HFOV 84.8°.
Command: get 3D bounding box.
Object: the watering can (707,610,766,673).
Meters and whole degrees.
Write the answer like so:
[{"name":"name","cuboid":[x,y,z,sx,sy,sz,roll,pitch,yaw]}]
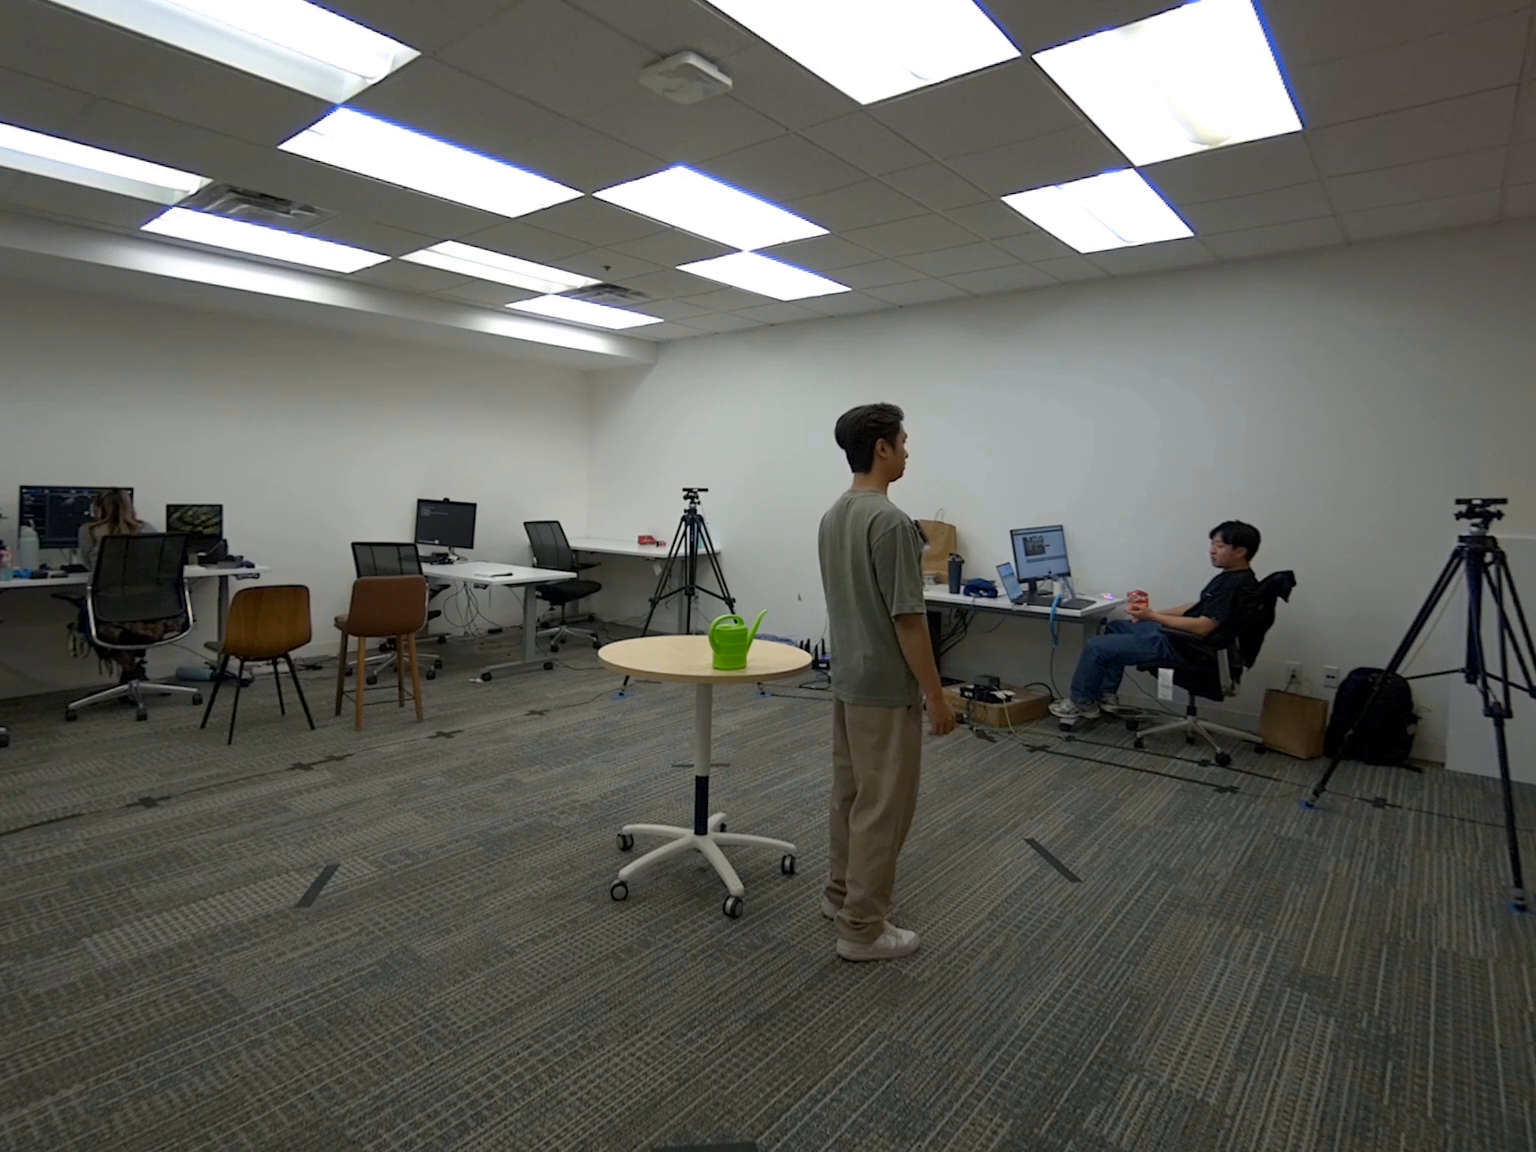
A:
[{"name":"watering can","cuboid":[-0.100,0.208,2.854,0.271,0.176,0.101,-2,3,-31]}]
